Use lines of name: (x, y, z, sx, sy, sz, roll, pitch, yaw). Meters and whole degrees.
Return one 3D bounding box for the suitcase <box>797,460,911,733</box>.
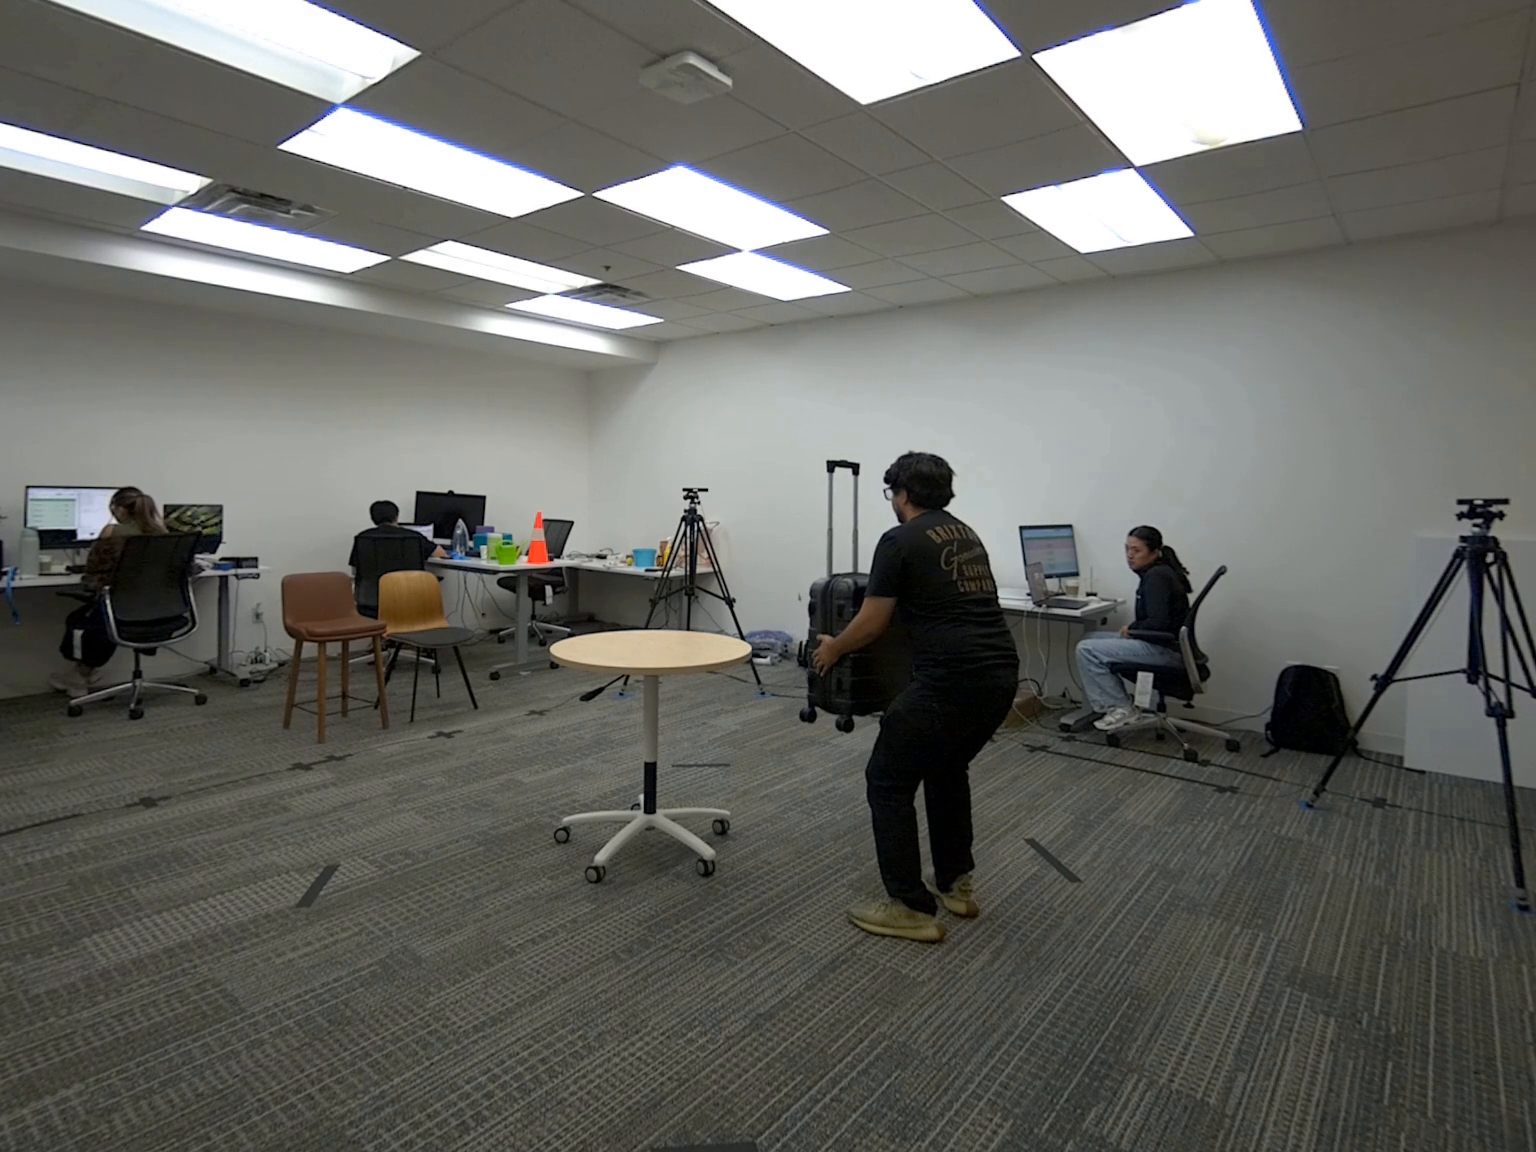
suitcase: (0.345, 0.059, 3.165, 0.372, 0.979, 0.265, 2, -1, -36)
